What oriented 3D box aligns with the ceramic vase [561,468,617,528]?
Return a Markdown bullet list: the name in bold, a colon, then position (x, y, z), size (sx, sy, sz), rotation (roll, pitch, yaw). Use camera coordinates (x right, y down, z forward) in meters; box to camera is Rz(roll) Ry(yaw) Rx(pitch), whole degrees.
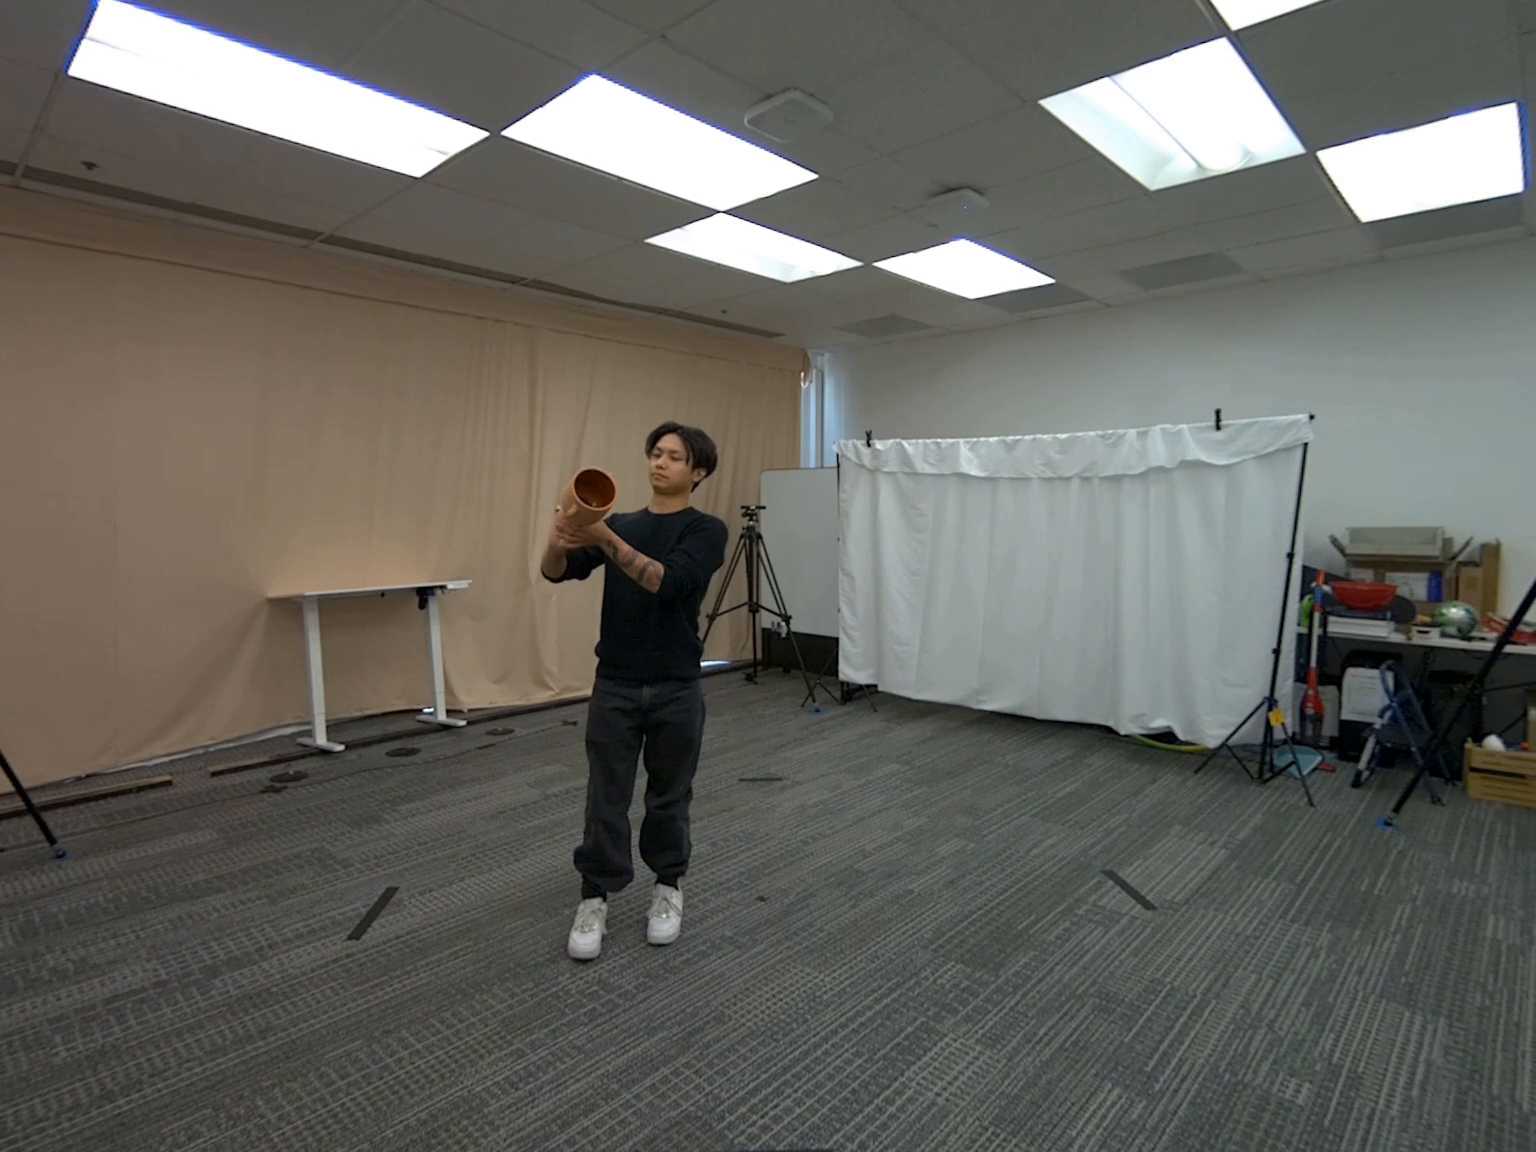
- **ceramic vase**: position (-0.527, -0.204, 2.378), size (0.154, 0.136, 0.222), rotation (-3, -19, -31)
